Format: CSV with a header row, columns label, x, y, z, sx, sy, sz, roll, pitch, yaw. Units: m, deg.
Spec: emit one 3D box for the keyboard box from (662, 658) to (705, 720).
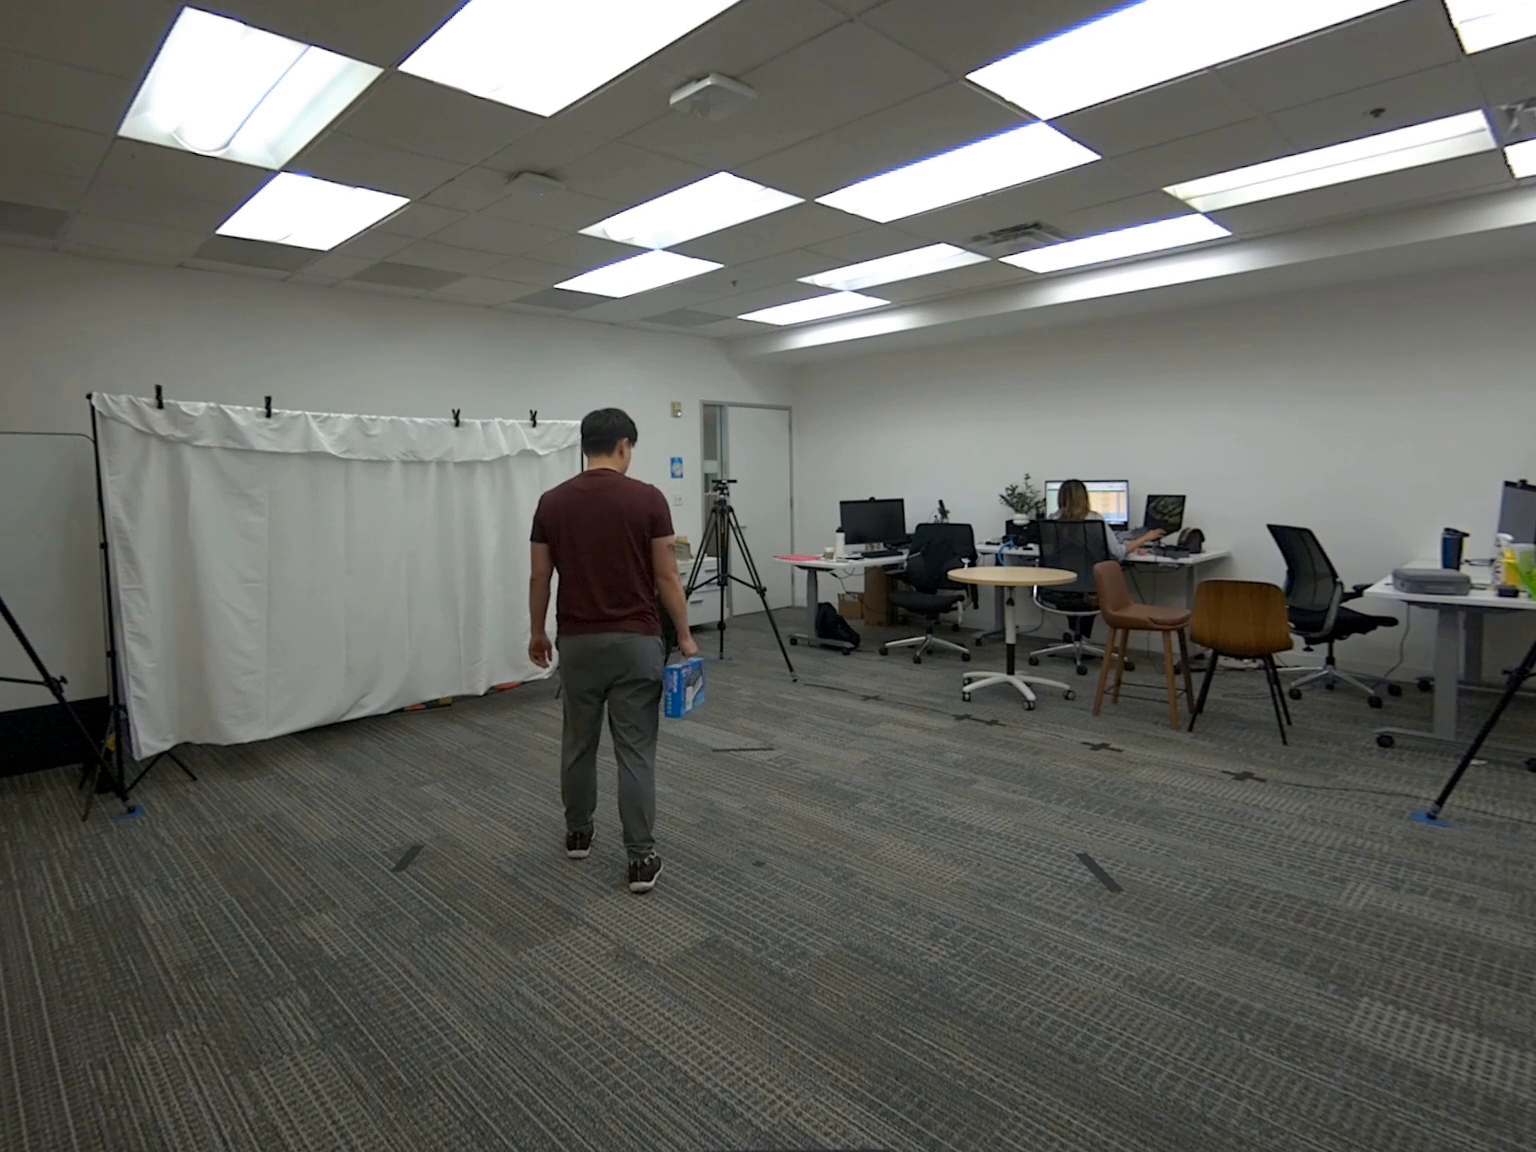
label,x,y,z,sx,sy,sz,roll,pitch,yaw
keyboard box,-0.301,0.403,3.158,0.059,0.176,0.432,0,-2,5
